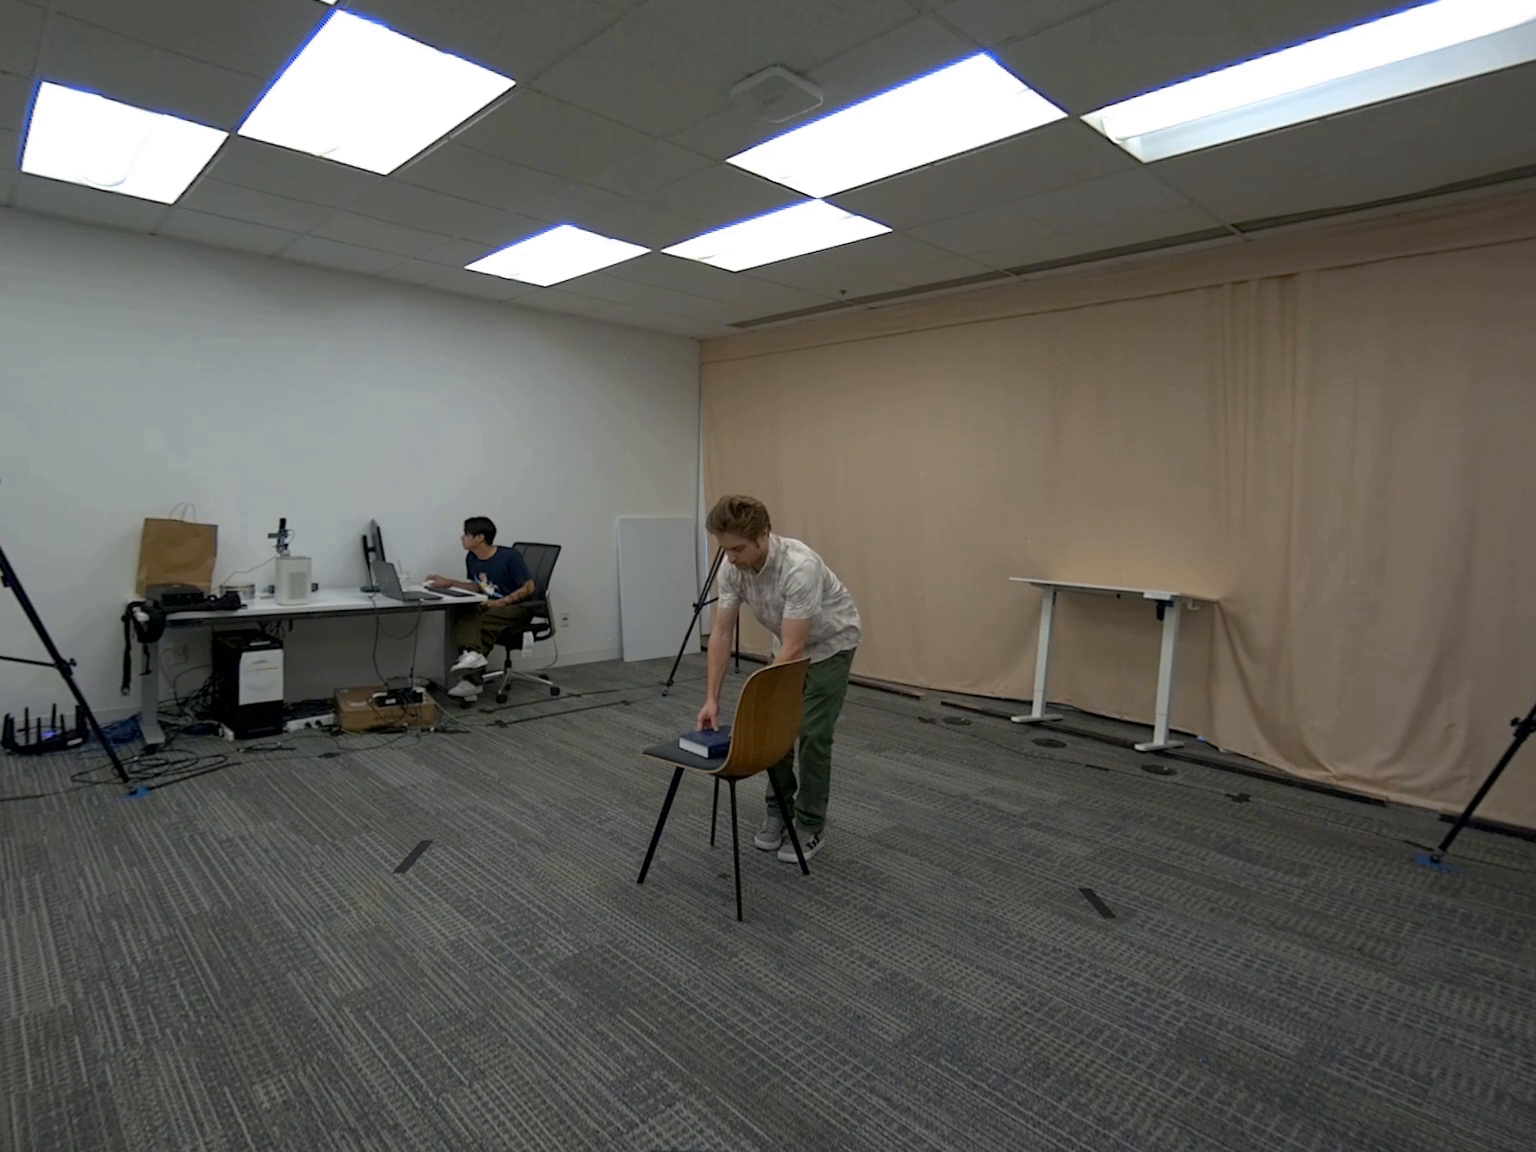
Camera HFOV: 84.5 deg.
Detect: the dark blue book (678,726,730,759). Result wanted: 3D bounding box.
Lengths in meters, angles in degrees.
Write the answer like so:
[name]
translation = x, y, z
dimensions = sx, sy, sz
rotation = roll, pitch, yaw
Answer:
[dark blue book]
translation = -0.183, 0.604, 3.067
dimensions = 0.168, 0.045, 0.239
rotation = 7, 7, 43
